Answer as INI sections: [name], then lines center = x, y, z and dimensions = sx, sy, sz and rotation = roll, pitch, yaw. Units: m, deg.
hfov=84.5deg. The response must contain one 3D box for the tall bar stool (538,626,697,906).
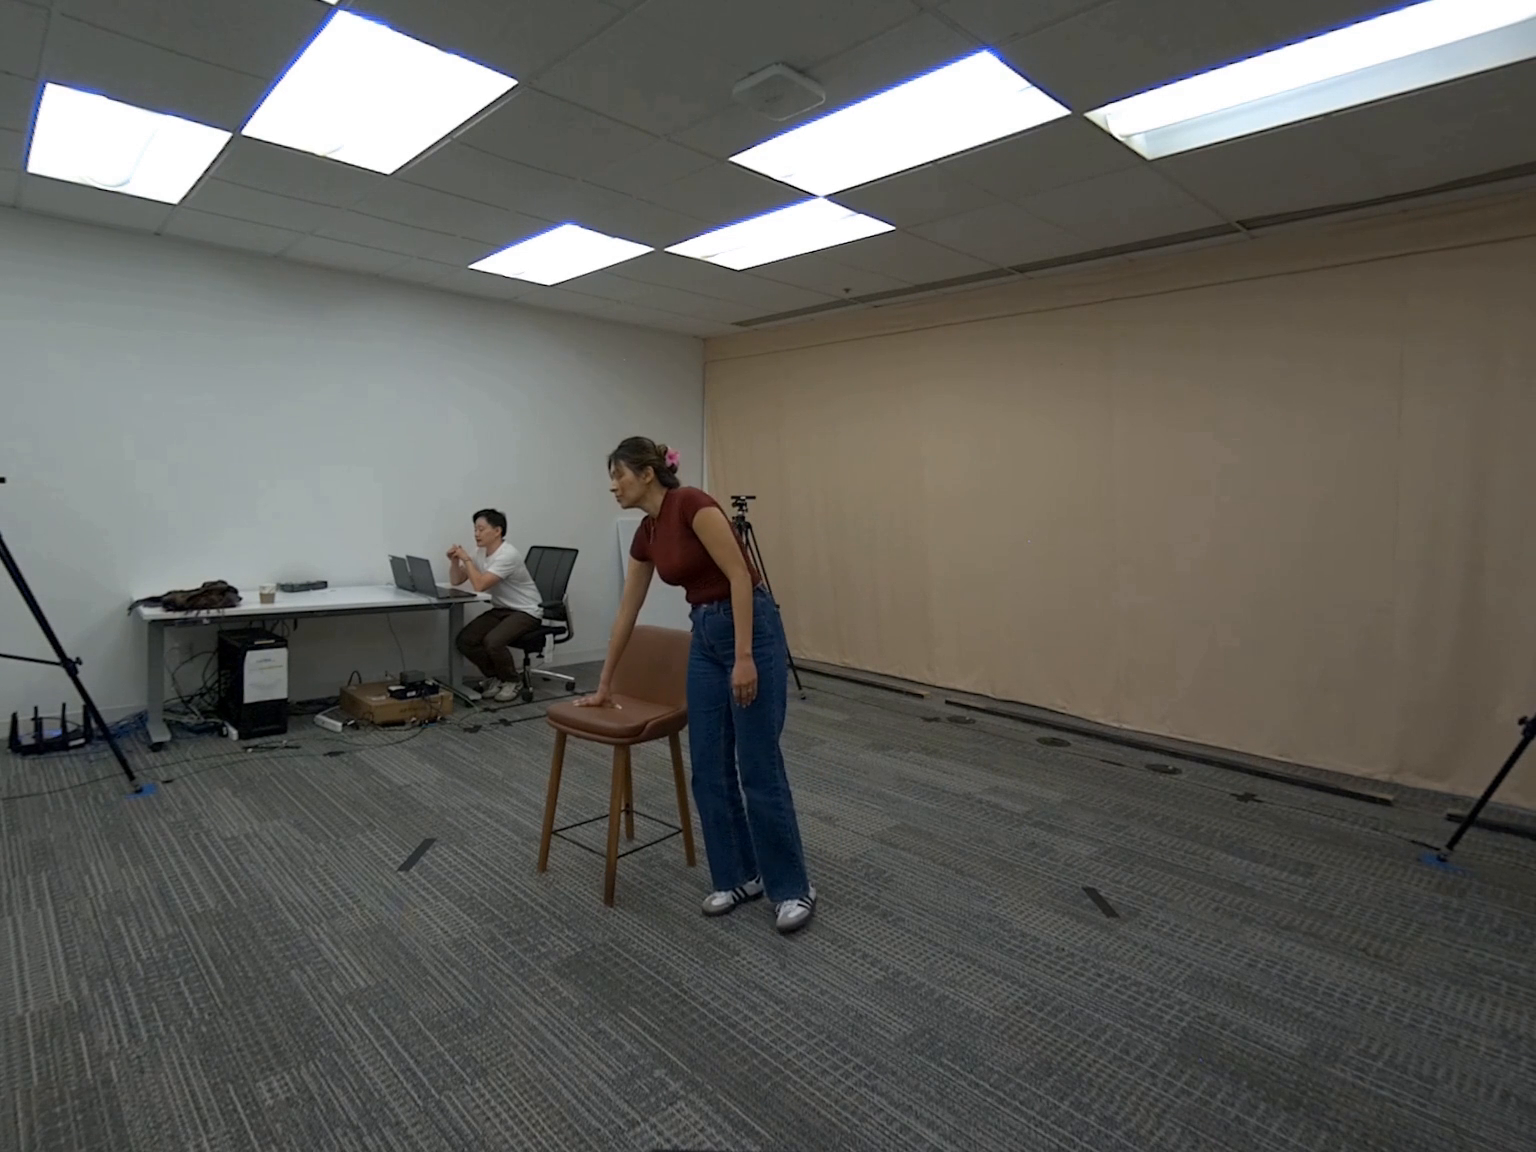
[tall bar stool]
center = -0.548, 0.659, 3.115
dimensions = 0.468, 0.888, 0.456
rotation = 4, 3, 41
